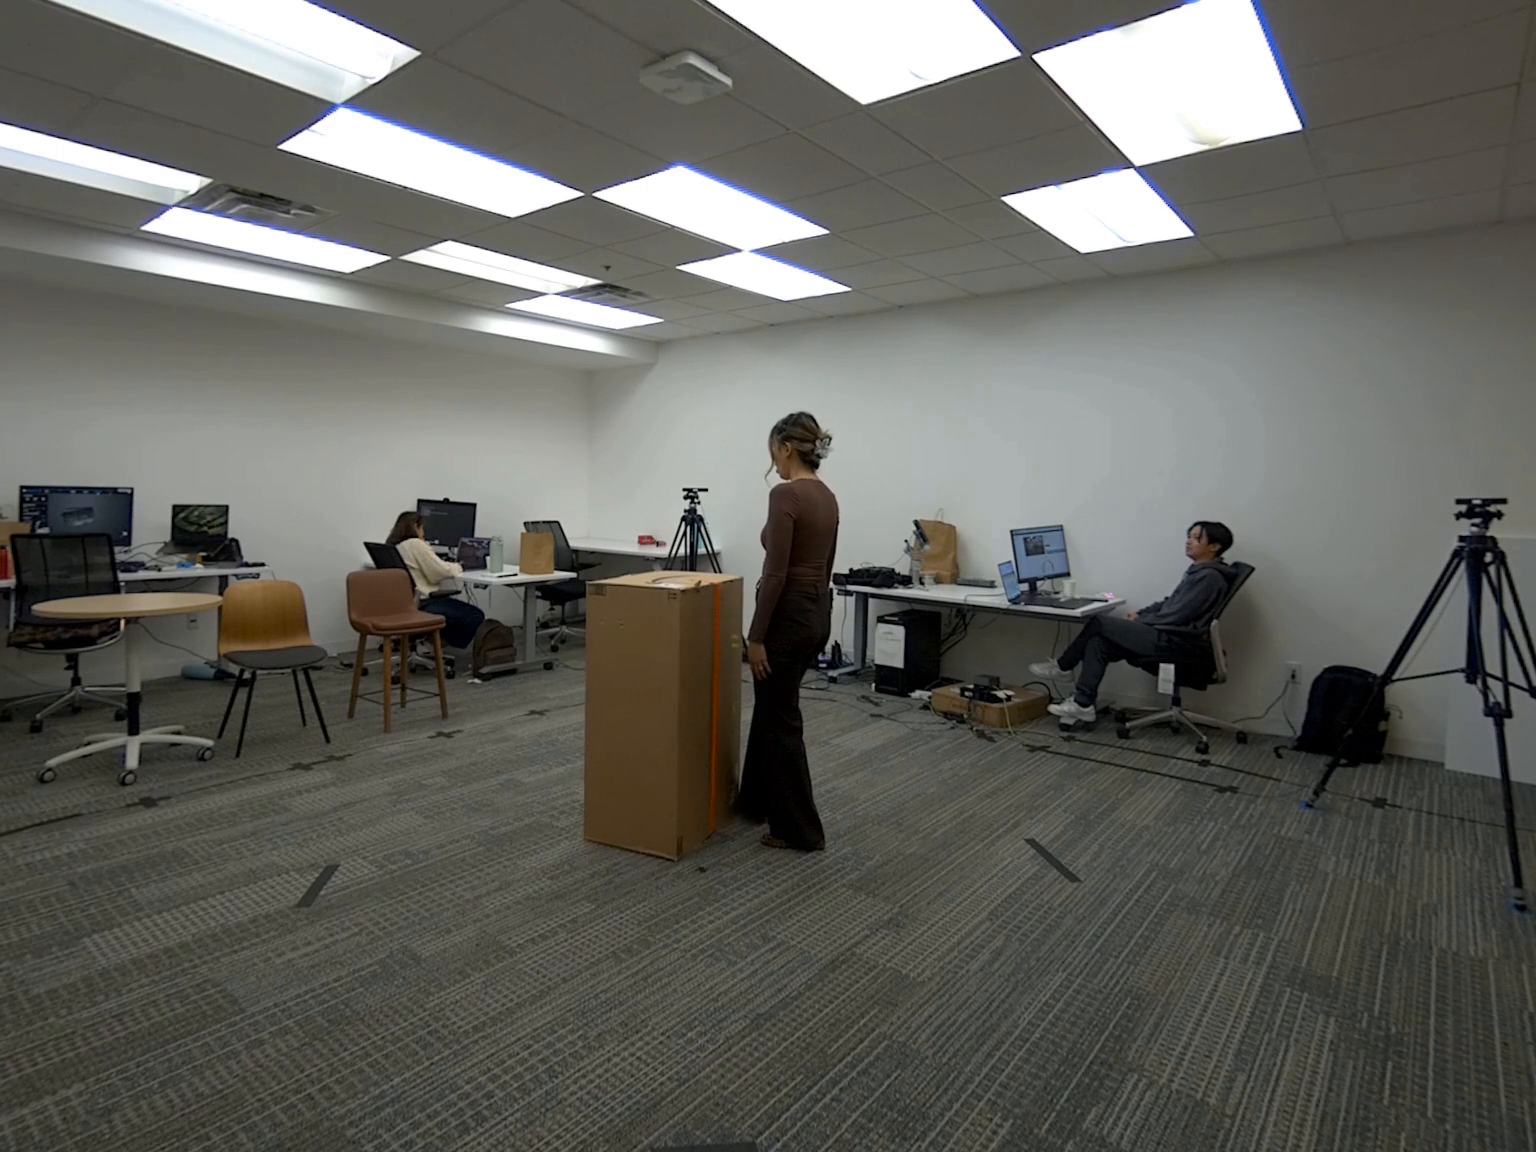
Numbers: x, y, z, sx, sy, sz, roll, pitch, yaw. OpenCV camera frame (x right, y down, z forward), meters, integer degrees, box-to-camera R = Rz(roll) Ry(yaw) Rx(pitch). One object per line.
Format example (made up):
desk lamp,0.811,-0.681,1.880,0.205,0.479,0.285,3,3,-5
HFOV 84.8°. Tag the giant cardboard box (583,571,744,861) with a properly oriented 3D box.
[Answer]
giant cardboard box,-0.420,0.519,3.489,0.459,1.024,0.570,3,4,25
